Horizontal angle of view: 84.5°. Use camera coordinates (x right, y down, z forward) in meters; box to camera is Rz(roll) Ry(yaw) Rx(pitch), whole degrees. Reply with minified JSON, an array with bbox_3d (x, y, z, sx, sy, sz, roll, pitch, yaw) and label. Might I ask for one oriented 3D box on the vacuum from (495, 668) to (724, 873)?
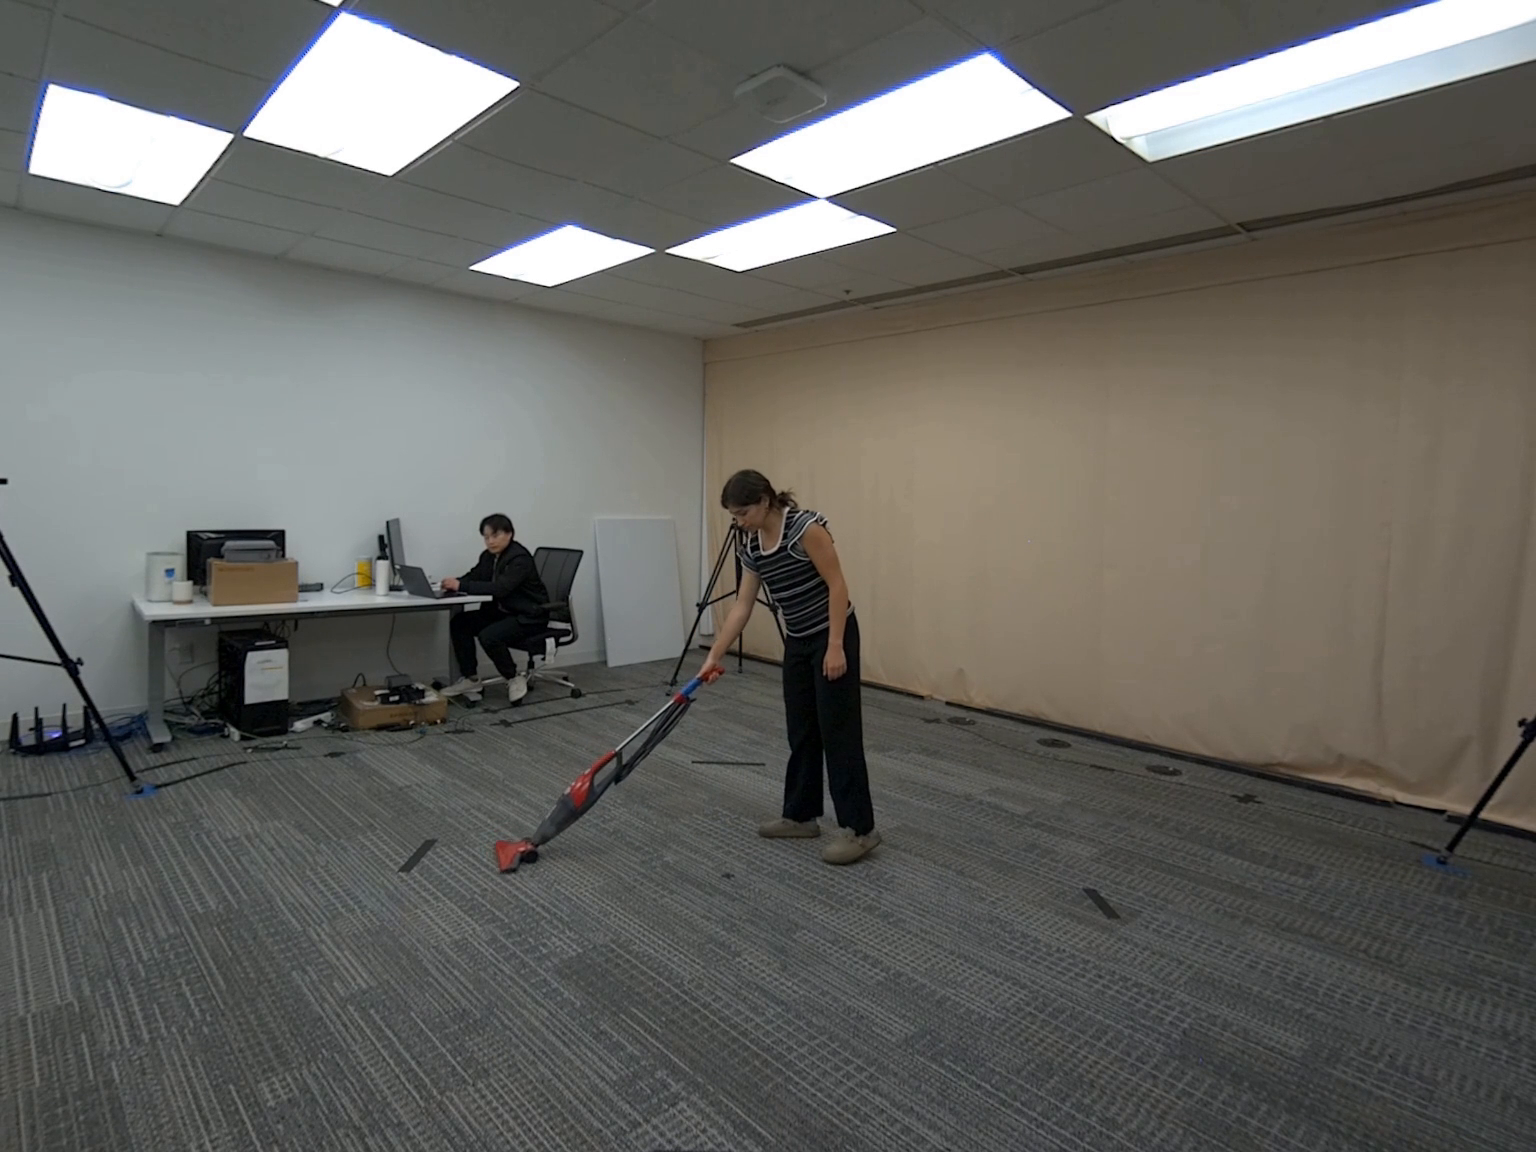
[{"bbox_3d":[-0.583,0.735,3.329,1.047,0.141,0.259,-39,25,-13],"label":"vacuum"}]
